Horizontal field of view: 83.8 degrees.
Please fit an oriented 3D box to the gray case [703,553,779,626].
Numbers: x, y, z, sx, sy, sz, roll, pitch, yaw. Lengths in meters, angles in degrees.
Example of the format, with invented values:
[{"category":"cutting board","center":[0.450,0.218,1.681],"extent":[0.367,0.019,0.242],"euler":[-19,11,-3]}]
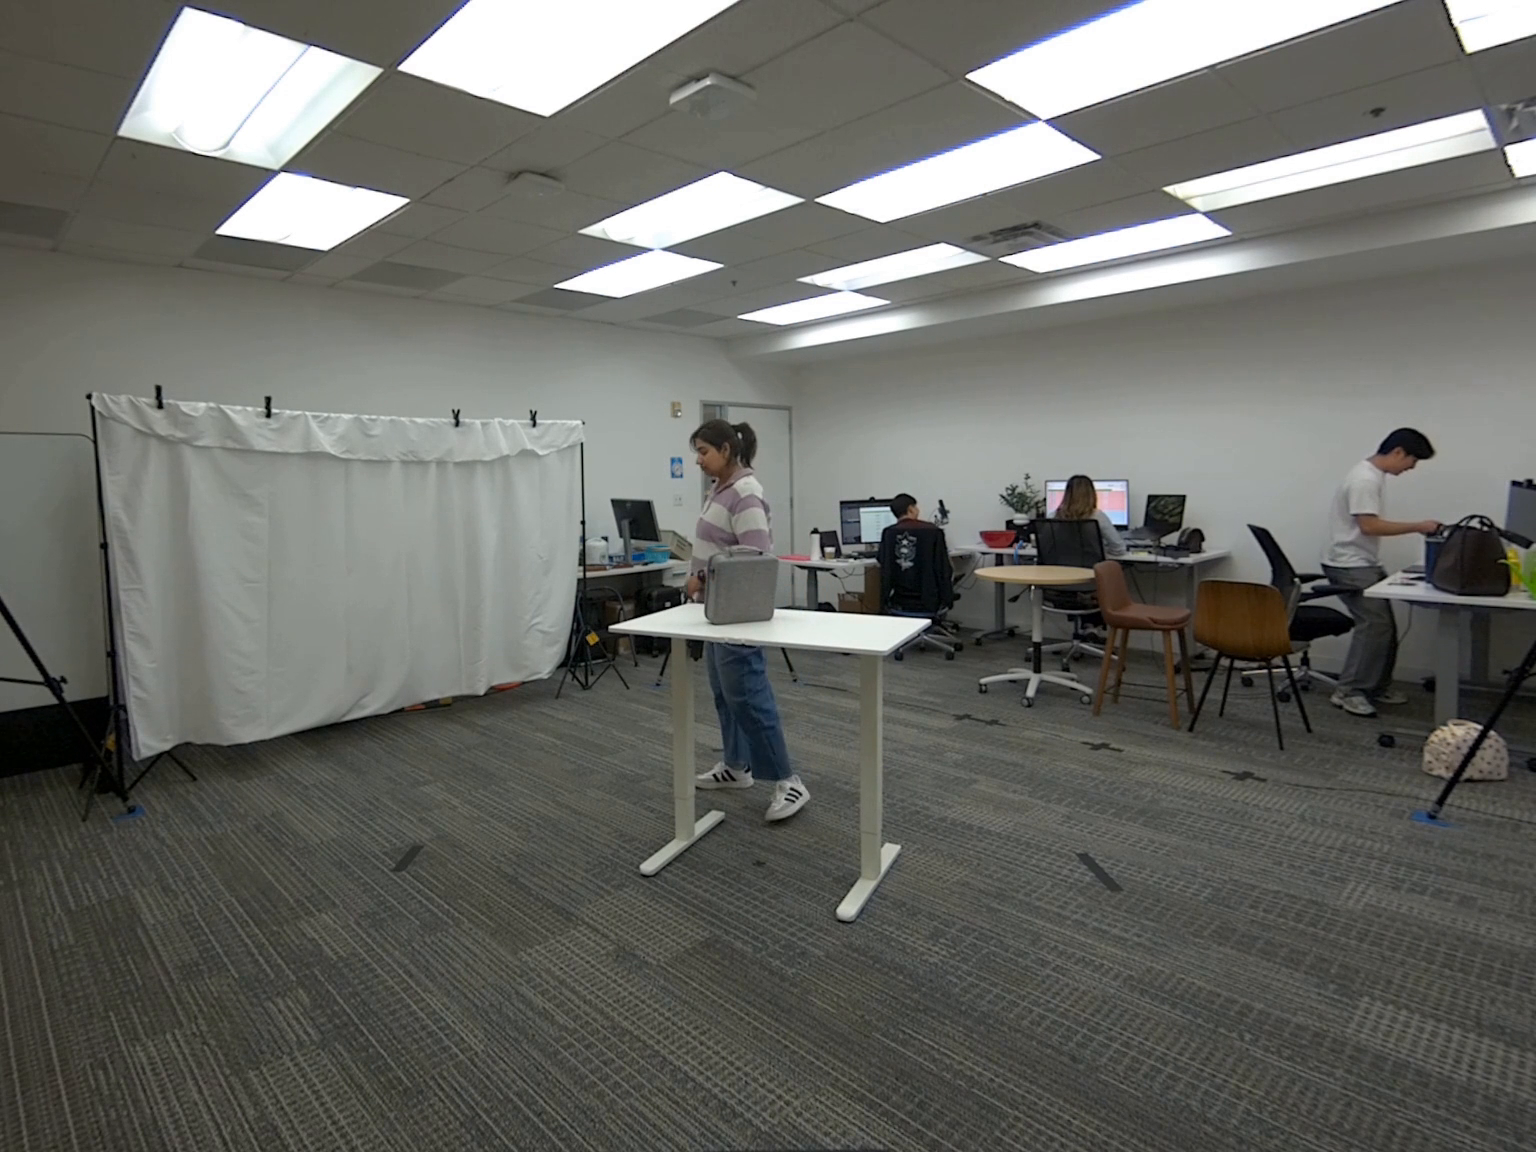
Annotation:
[{"category":"gray case","center":[-0.094,0.039,3.070],"extent":[0.252,0.257,0.108],"euler":[-3,18,-24]}]
